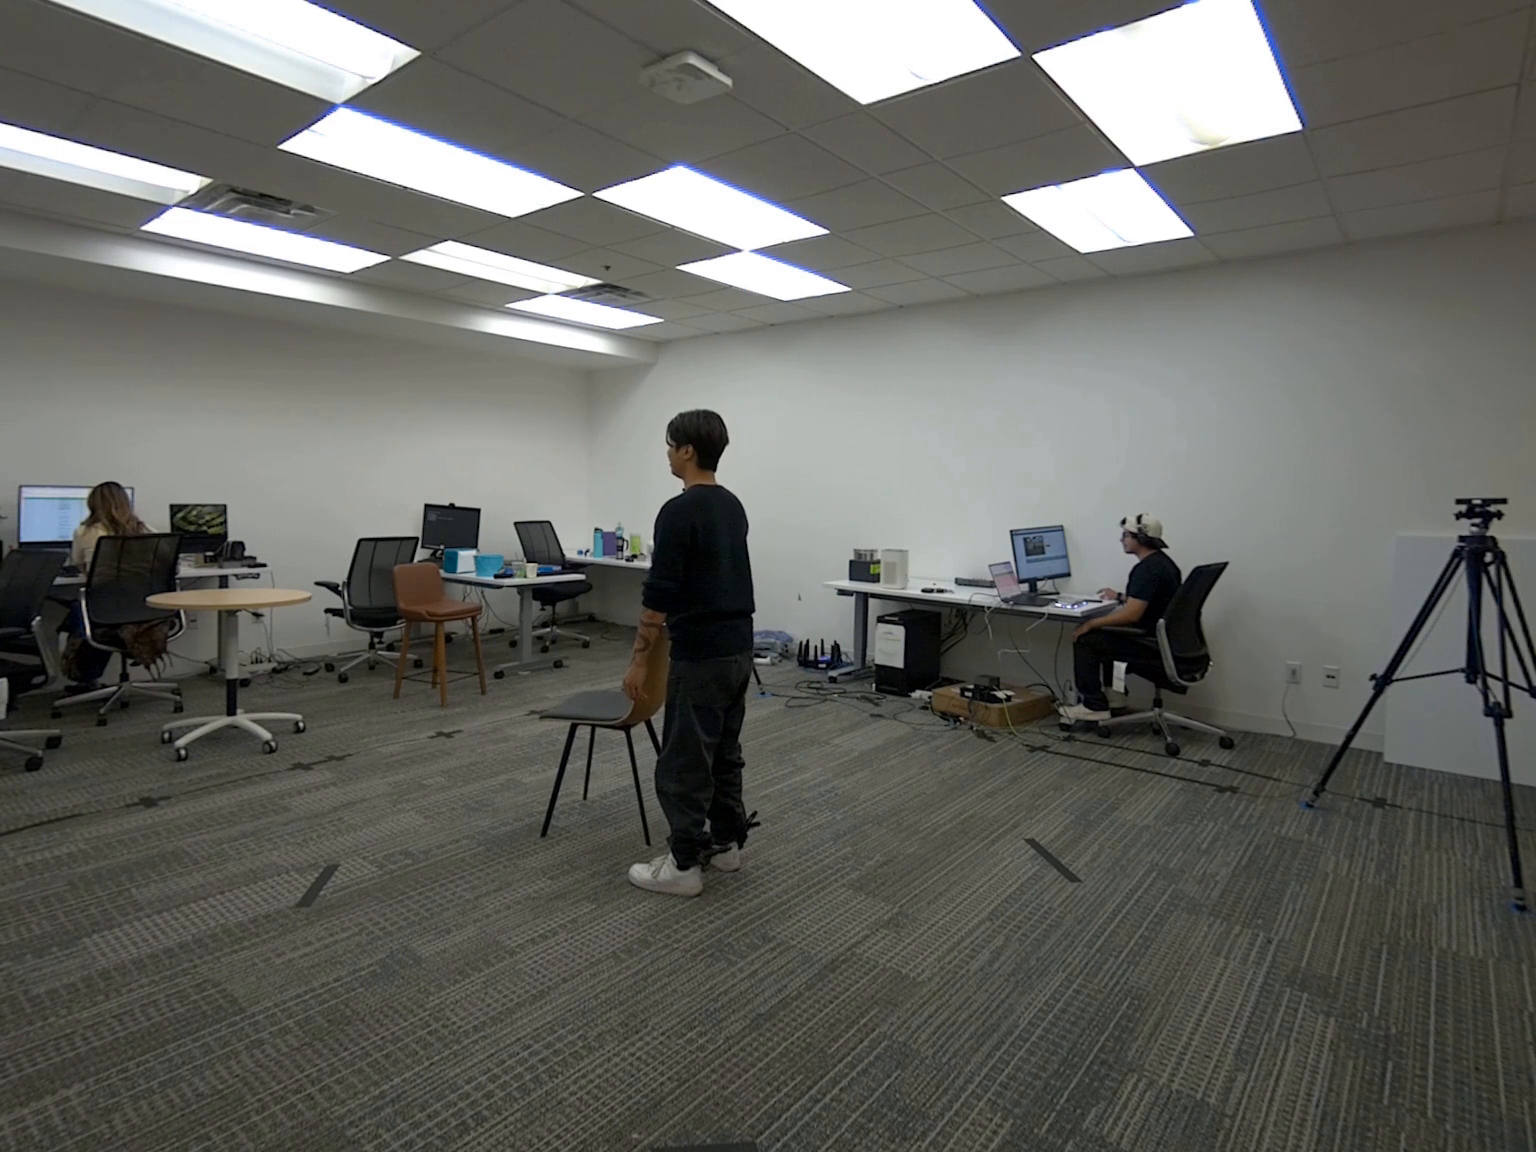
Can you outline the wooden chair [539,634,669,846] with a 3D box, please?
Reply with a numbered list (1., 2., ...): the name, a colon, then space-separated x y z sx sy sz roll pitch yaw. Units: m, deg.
1. wooden chair: -0.665 0.594 3.511 0.530 0.874 0.473 4 4 11
